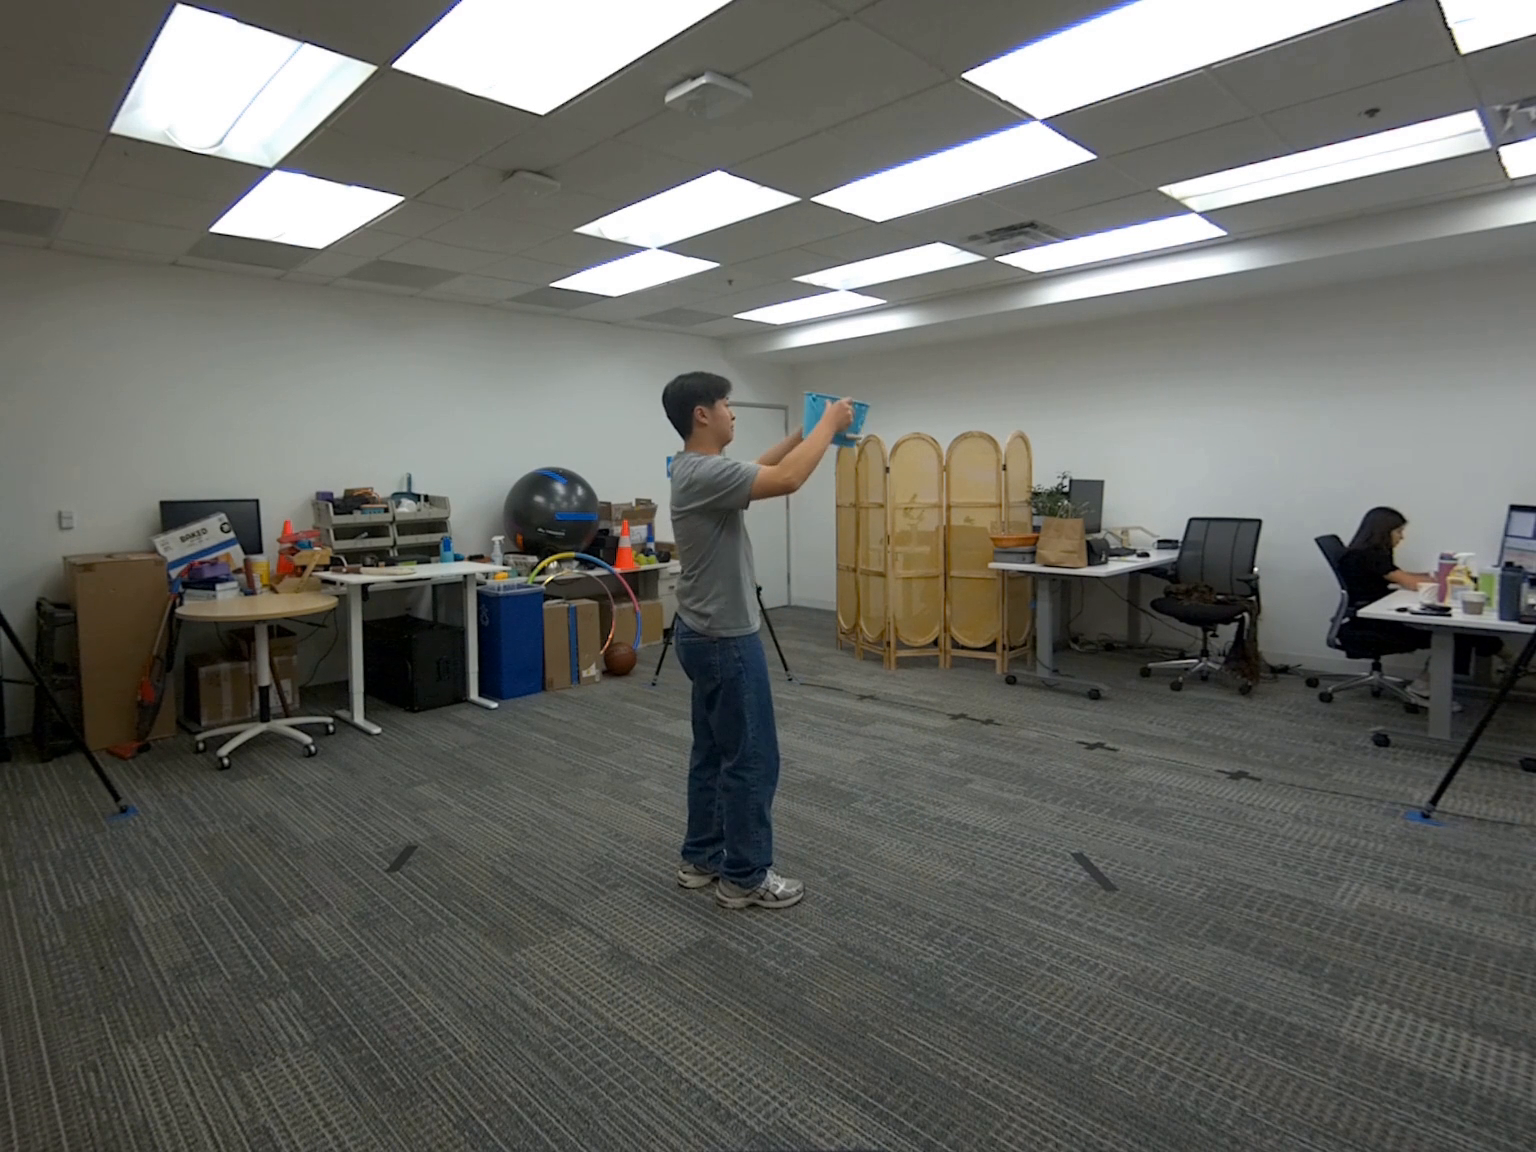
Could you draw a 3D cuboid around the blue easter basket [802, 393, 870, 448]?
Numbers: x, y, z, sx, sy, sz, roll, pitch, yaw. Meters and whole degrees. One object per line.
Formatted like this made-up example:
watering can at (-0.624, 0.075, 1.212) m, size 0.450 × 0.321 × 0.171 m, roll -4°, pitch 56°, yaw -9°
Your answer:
blue easter basket at (0.215, -0.523, 2.867) m, size 0.243 × 0.155 × 0.245 m, roll 10°, pitch 8°, yaw -3°
